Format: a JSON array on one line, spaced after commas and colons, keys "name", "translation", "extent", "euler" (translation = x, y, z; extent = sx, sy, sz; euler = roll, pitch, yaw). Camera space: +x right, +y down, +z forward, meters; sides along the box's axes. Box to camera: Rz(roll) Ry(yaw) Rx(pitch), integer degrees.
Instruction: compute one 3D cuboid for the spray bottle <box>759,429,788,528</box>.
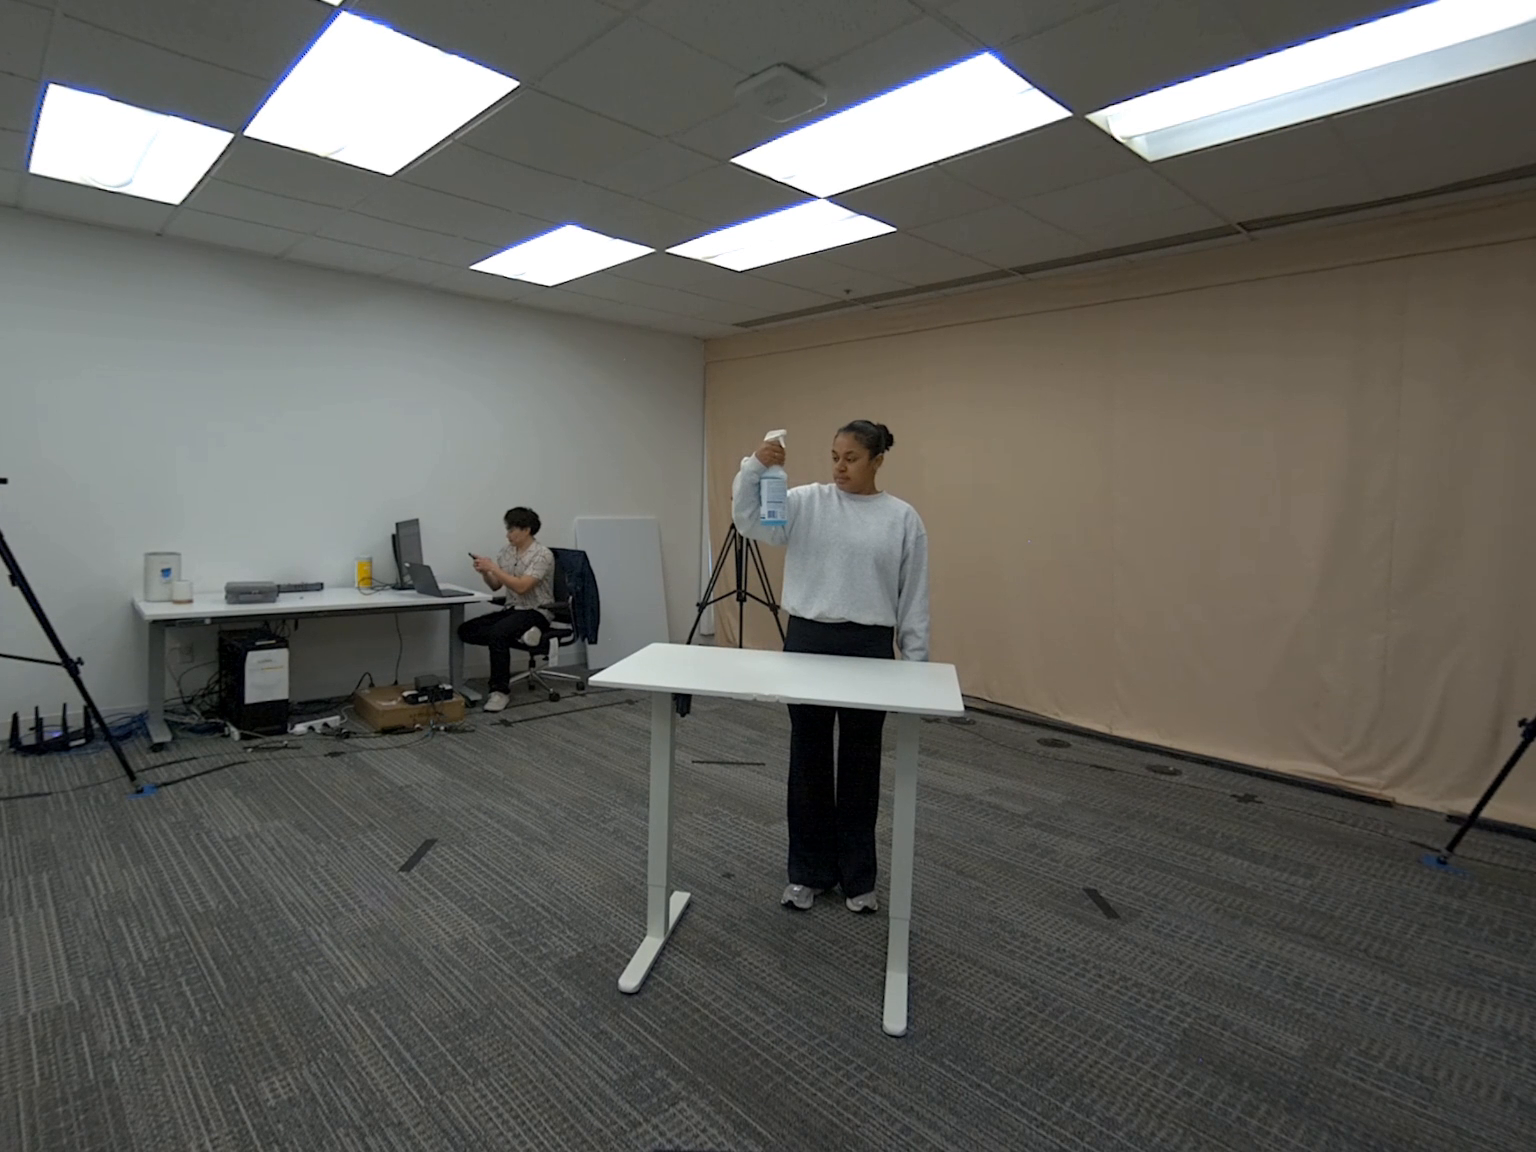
[{"name": "spray bottle", "translation": [0.007, -0.305, 2.650], "extent": [0.086, 0.296, 0.091], "euler": [-1, 4, -19]}]
